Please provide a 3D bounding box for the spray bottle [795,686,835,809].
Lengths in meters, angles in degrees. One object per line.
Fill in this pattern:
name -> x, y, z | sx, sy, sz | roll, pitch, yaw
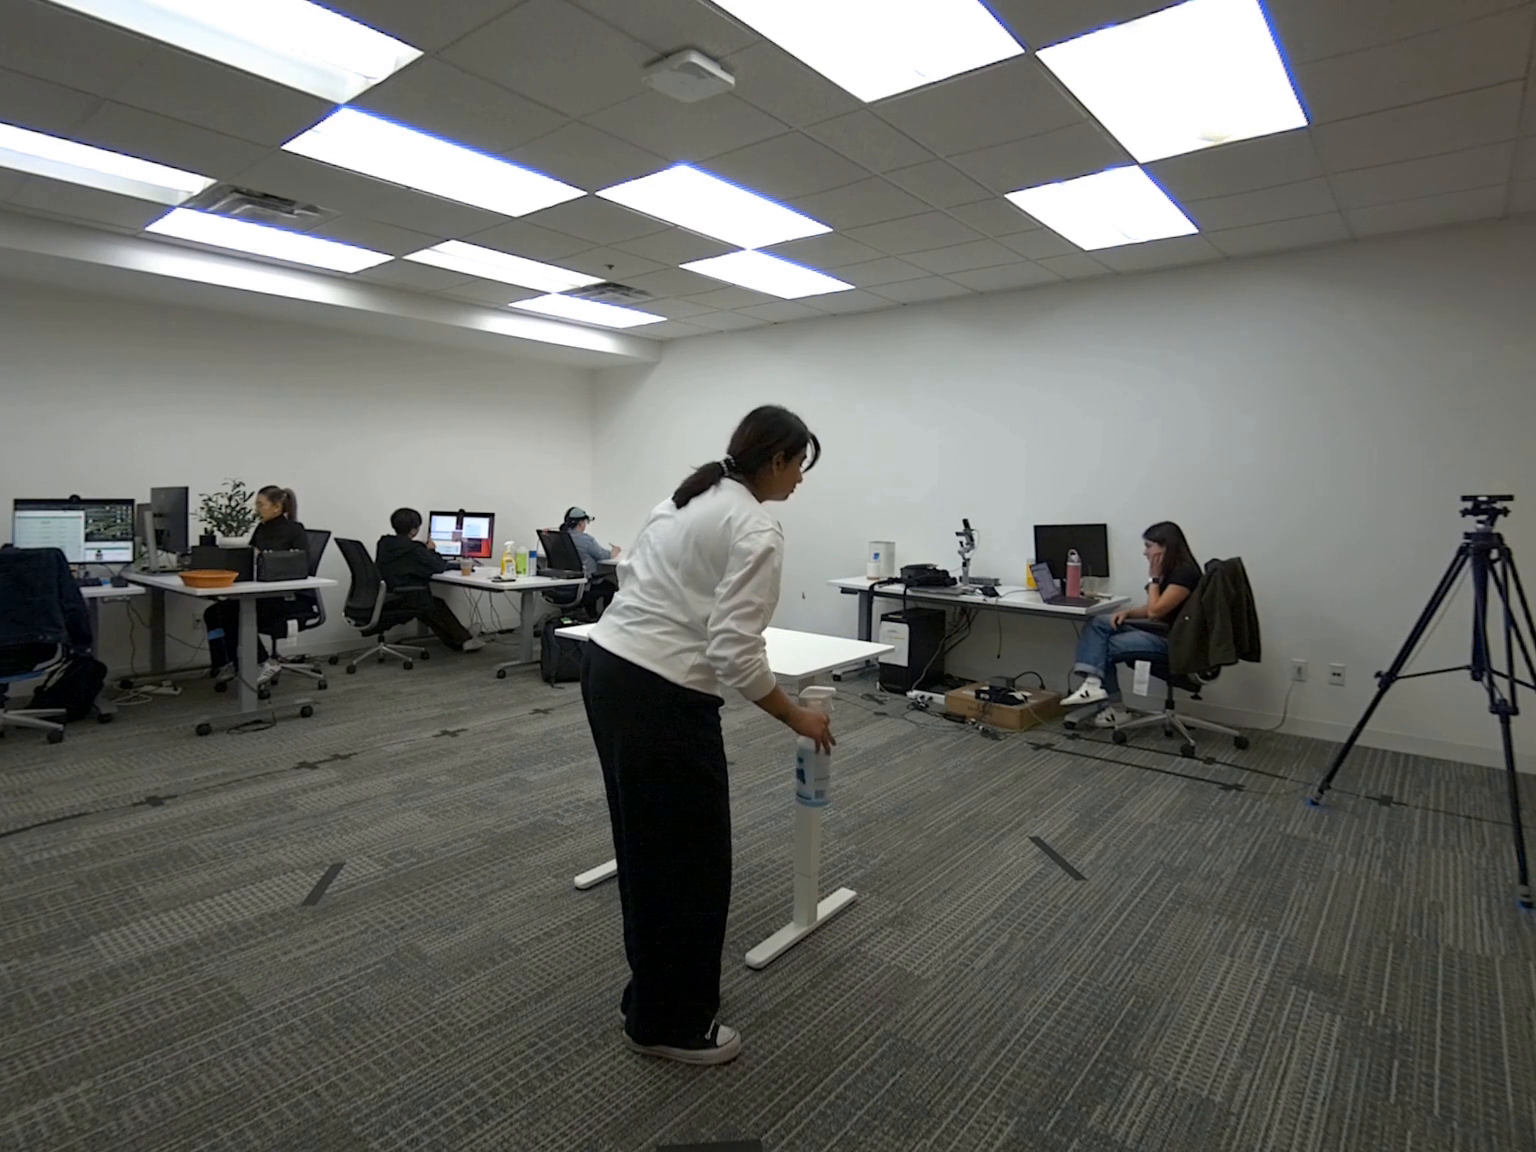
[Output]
spray bottle -> 0.113, 0.432, 2.130 | 0.093, 0.295, 0.084 | 7, 8, 40
